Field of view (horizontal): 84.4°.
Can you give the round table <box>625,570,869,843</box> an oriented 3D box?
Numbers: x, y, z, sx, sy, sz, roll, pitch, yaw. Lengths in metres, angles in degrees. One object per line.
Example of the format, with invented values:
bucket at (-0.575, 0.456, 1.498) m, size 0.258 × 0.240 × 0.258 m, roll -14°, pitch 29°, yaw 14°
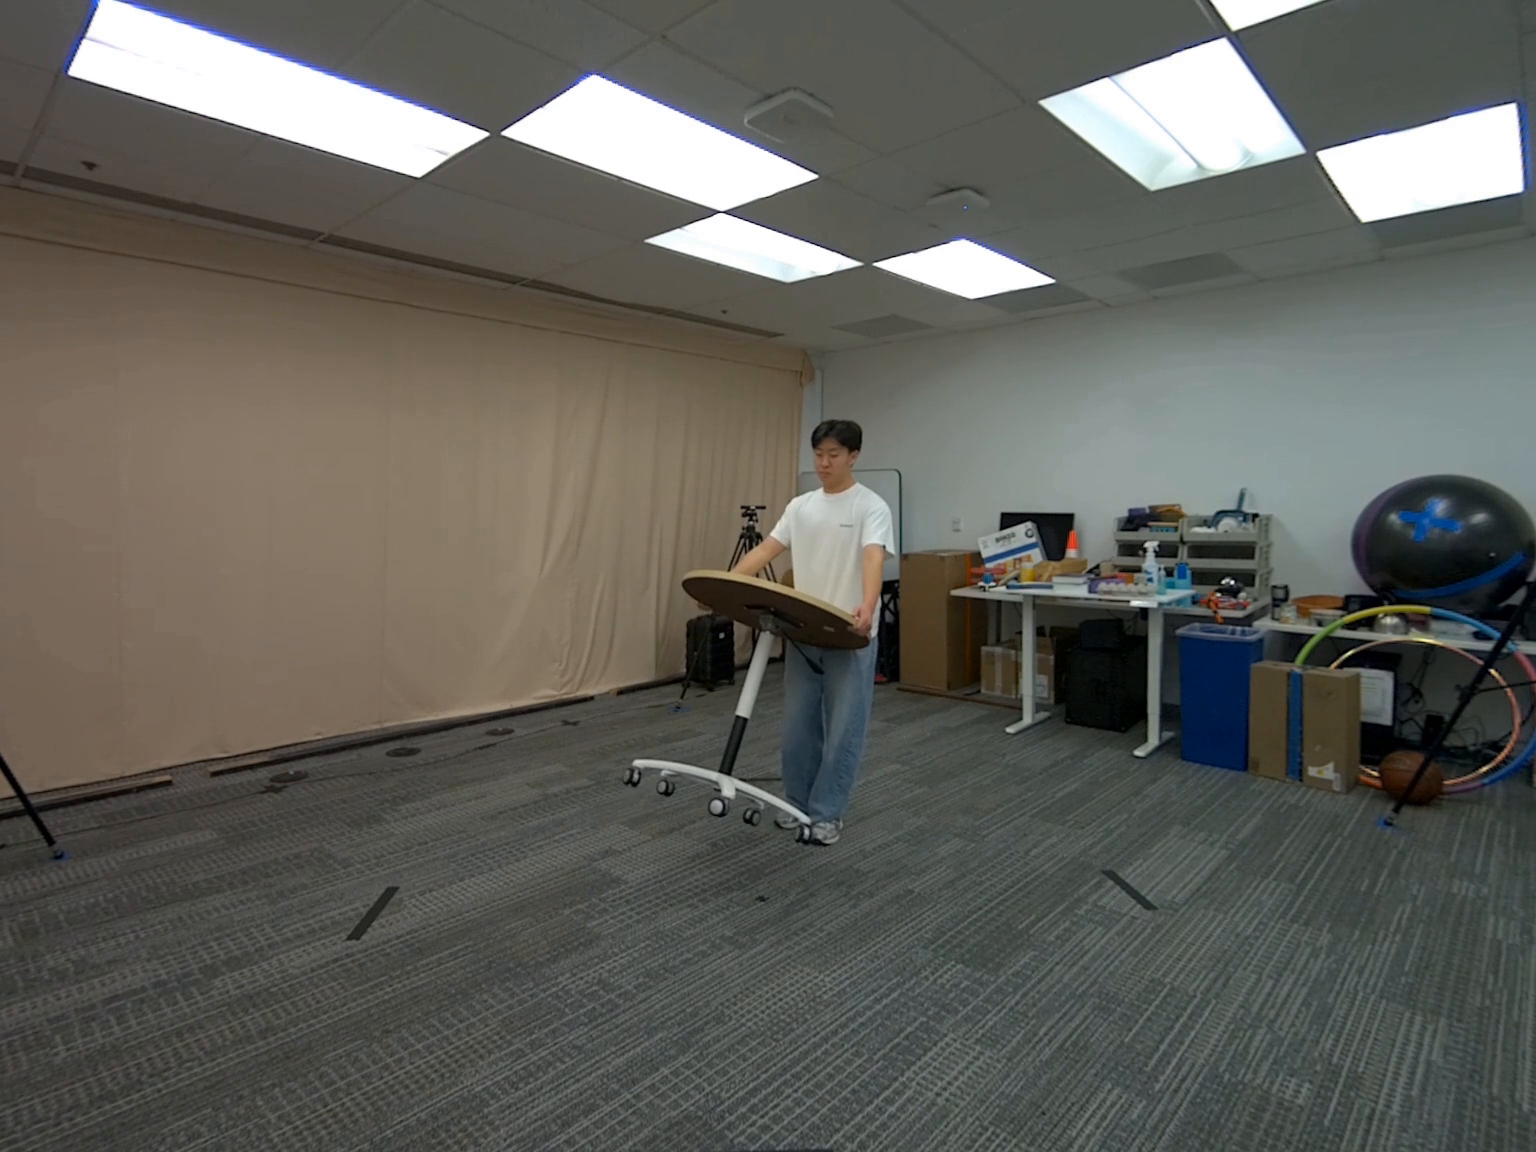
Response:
round table at (-0.083, 0.509, 3.192) m, size 0.768 × 0.797 × 0.758 m, roll 17°, pitch -14°, yaw 3°
